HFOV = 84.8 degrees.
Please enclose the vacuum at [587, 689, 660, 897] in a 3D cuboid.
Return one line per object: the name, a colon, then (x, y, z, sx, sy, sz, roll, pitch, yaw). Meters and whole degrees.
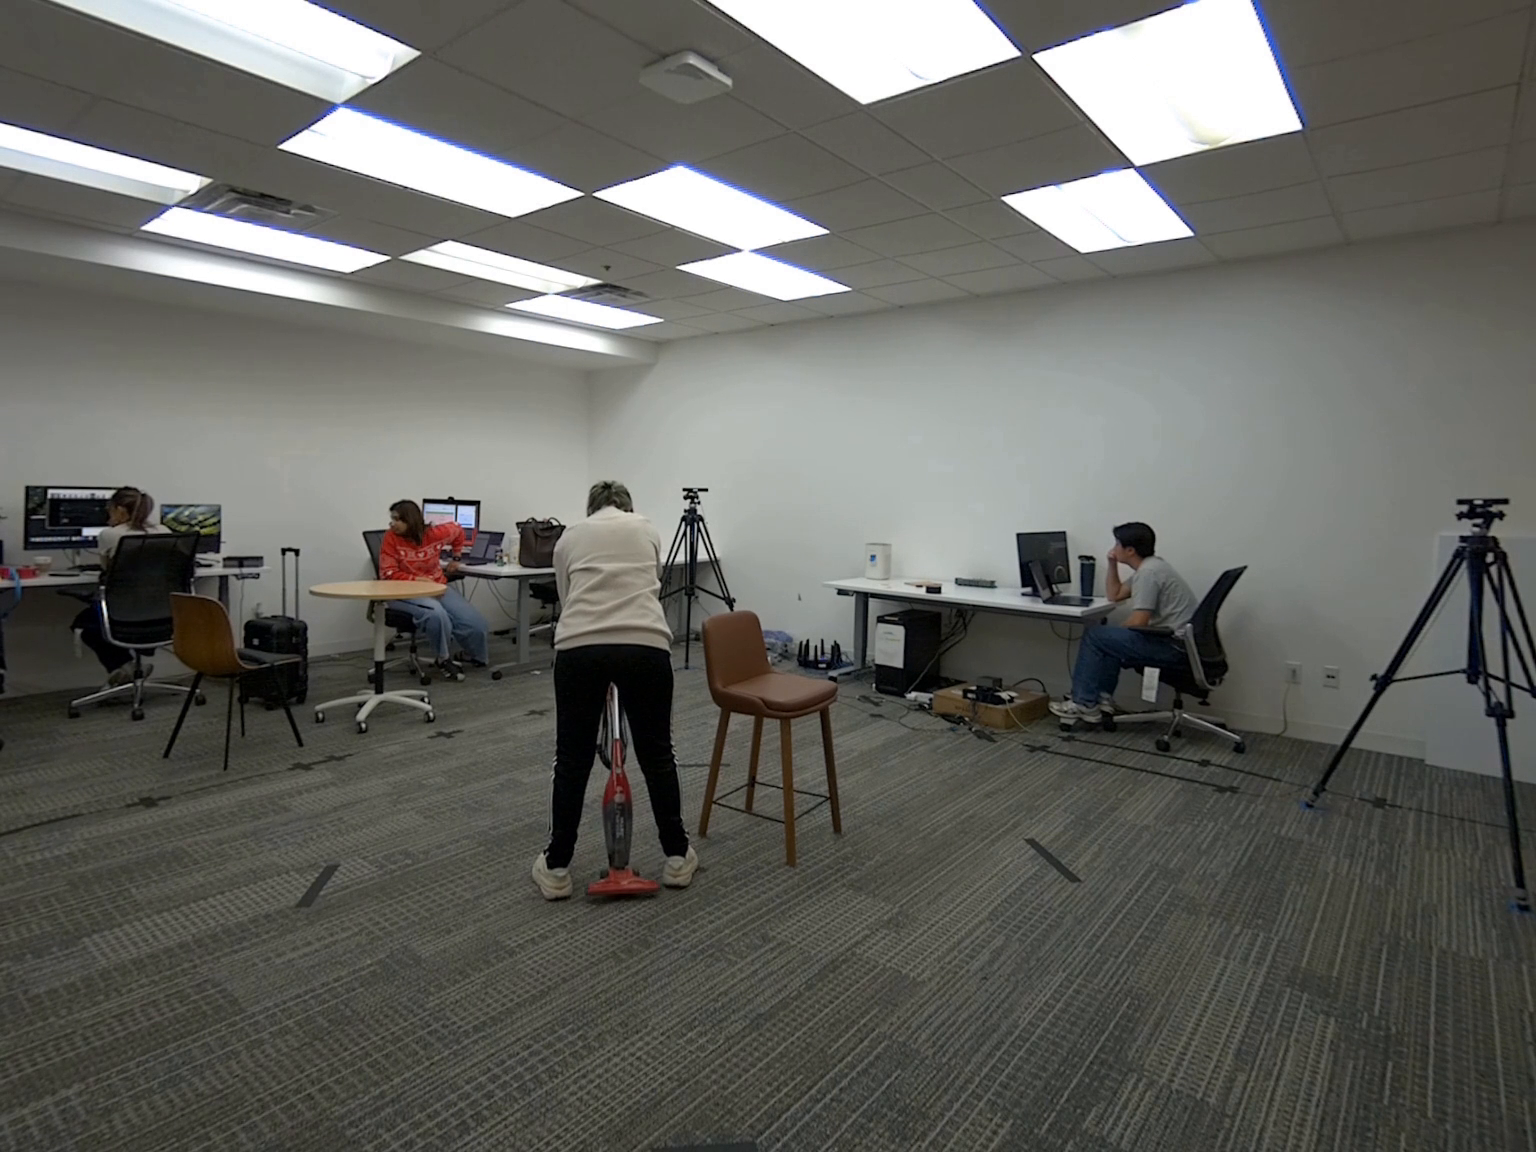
vacuum: (-0.599, 0.641, 3.255, 0.248, 1.086, 0.142, 2, -42, -19)
